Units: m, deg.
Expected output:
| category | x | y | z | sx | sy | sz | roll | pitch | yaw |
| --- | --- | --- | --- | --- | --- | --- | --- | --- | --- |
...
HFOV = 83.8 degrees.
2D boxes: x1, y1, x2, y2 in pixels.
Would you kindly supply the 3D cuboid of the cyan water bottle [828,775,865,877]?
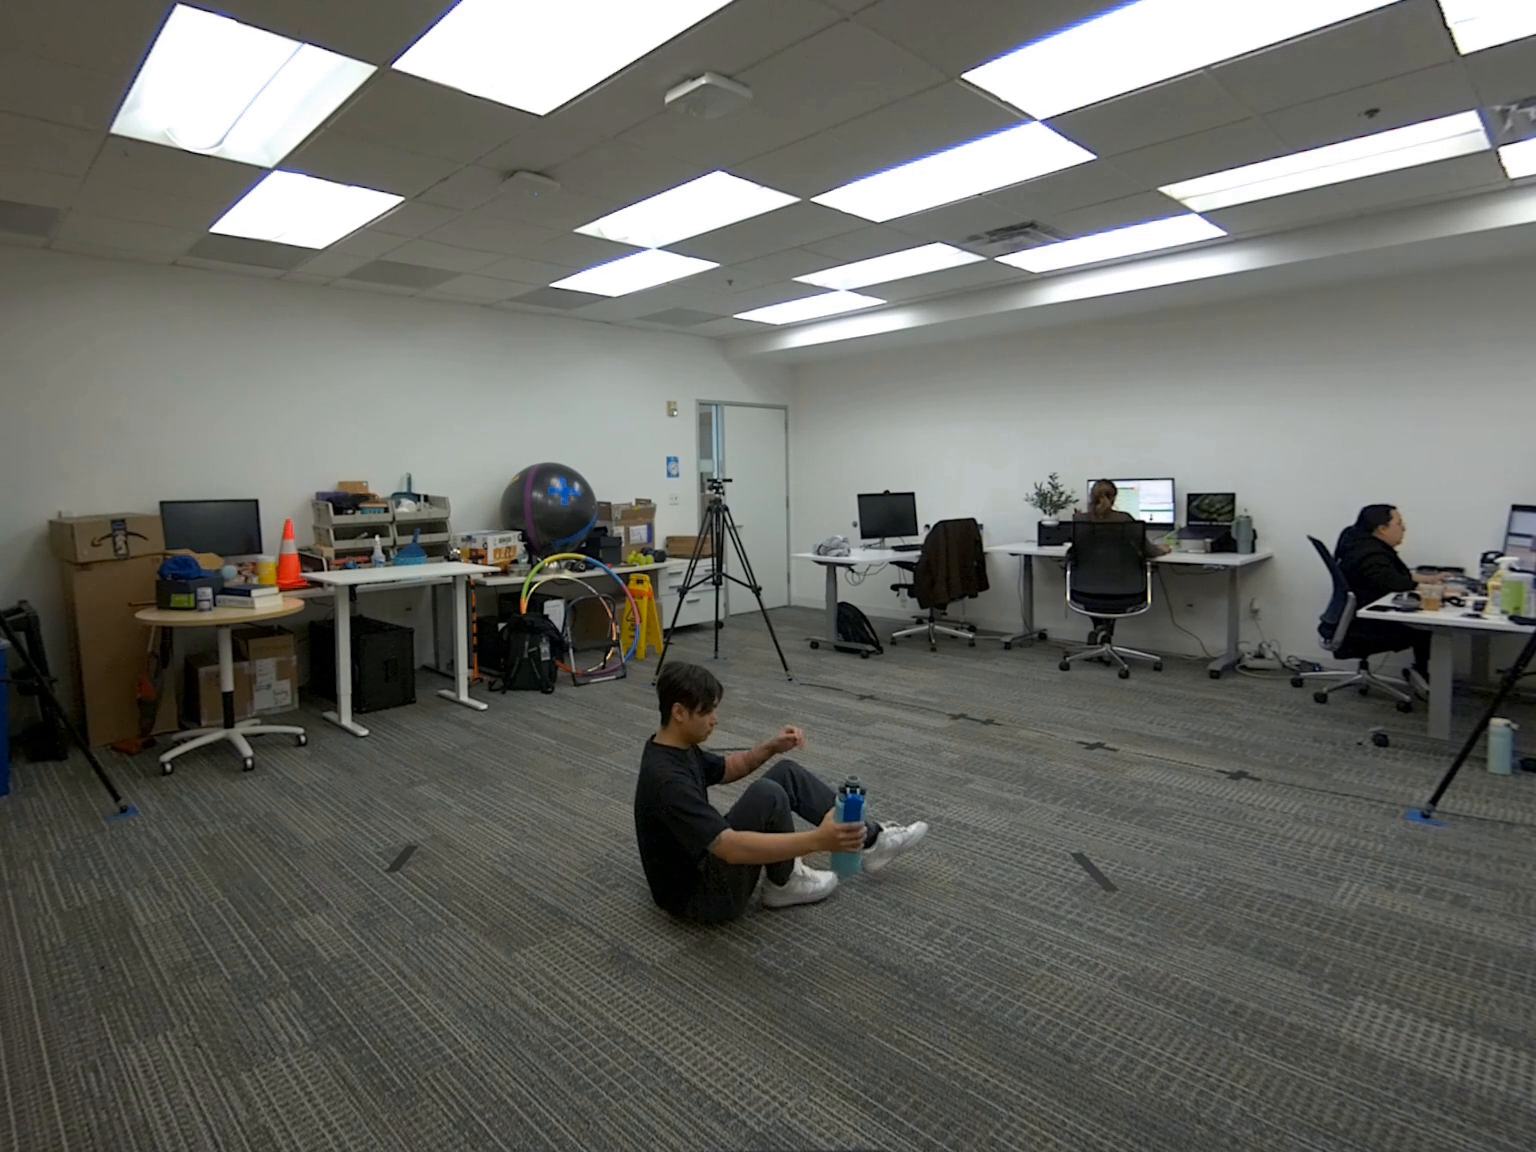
| category | x | y | z | sx | sy | sz | roll | pitch | yaw |
| --- | --- | --- | --- | --- | --- | --- | --- | --- | --- |
| cyan water bottle | 0.242 | 0.713 | 2.445 | 0.092 | 0.279 | 0.094 | 5 | 20 | -3 |
